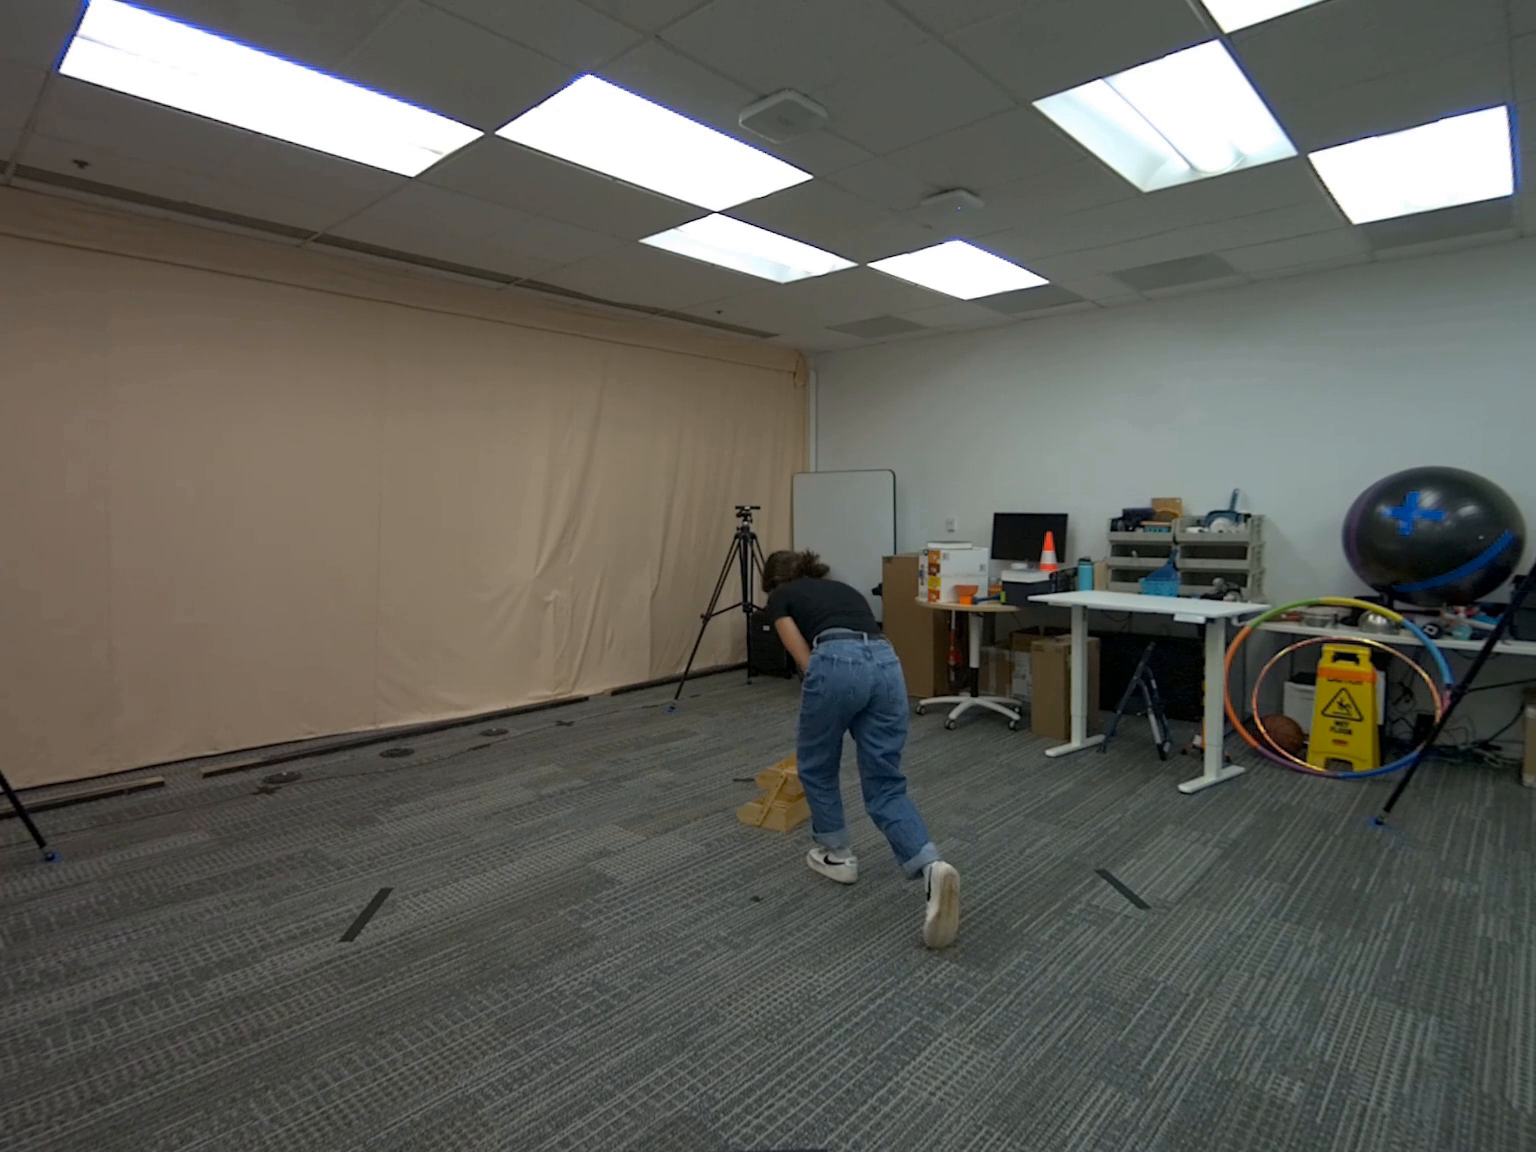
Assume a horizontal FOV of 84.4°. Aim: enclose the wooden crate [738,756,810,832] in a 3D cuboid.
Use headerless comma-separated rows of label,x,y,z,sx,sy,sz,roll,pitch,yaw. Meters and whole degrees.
wooden crate,0.059,0.946,3.768,0.311,0.273,0.316,2,4,30
